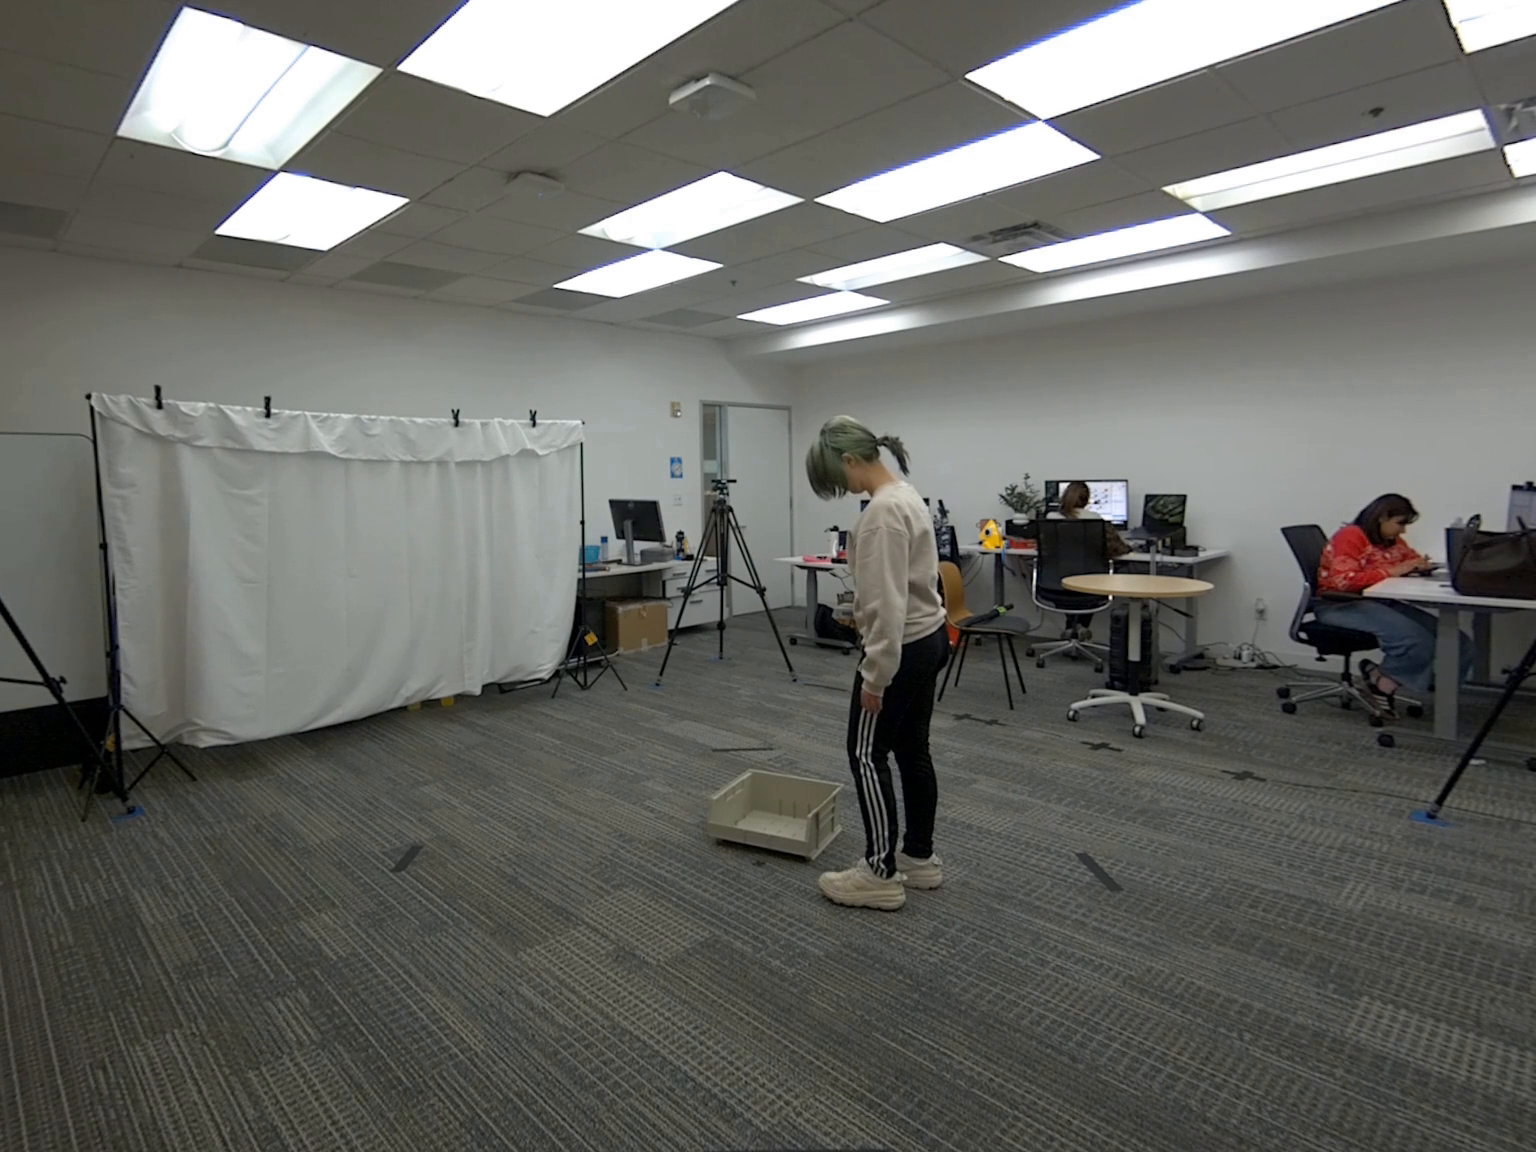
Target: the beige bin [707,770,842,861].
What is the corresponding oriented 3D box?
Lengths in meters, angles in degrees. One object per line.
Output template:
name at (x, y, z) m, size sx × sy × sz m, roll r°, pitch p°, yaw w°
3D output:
beige bin at (0.036, 0.932, 3.336) m, size 0.433 × 0.188 × 0.370 m, roll 2°, pitch 6°, yaw 27°
